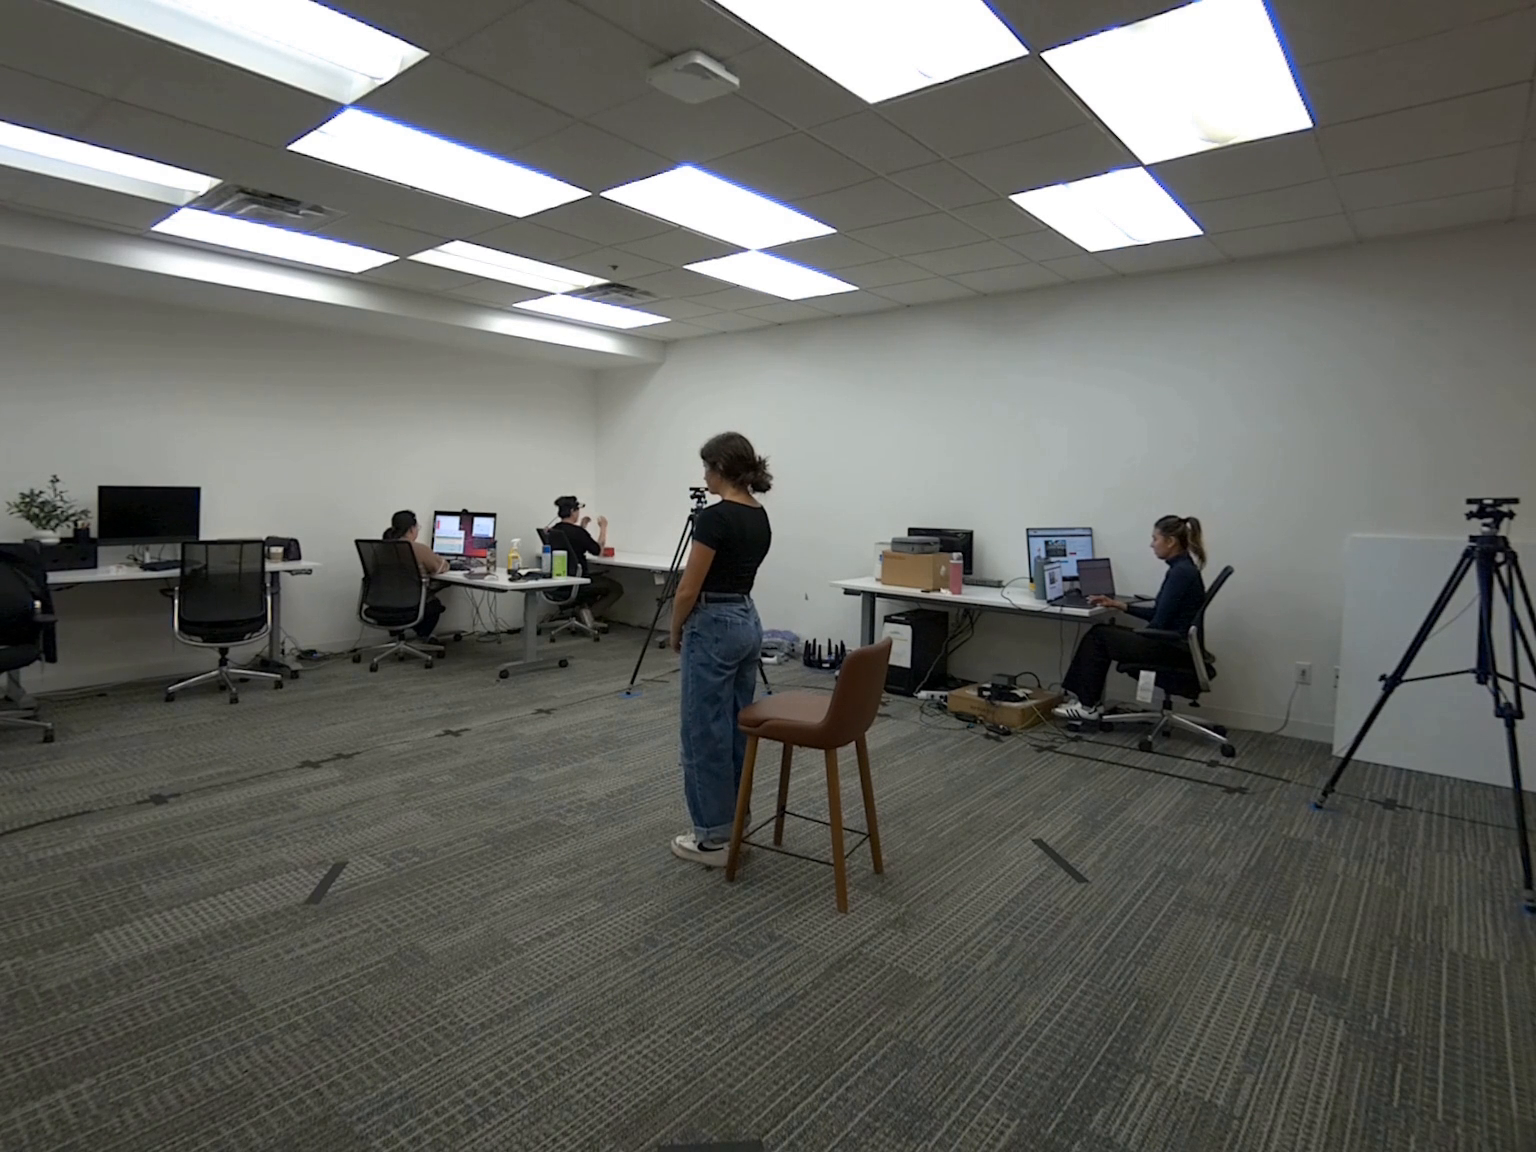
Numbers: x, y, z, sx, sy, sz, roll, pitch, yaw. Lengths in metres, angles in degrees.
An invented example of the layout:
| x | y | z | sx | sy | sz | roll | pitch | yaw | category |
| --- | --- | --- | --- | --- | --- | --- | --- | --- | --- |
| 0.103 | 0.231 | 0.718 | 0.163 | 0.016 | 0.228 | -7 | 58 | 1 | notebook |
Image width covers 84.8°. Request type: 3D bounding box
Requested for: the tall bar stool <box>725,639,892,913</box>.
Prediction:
| x | y | z | sx | sy | sz | roll | pitch | yaw | category |
| --- | --- | --- | --- | --- | --- | --- | --- | --- | --- |
| 0.149 | 0.647 | 3.042 | 0.482 | 0.886 | 0.445 | 5 | 5 | 29 | tall bar stool |
